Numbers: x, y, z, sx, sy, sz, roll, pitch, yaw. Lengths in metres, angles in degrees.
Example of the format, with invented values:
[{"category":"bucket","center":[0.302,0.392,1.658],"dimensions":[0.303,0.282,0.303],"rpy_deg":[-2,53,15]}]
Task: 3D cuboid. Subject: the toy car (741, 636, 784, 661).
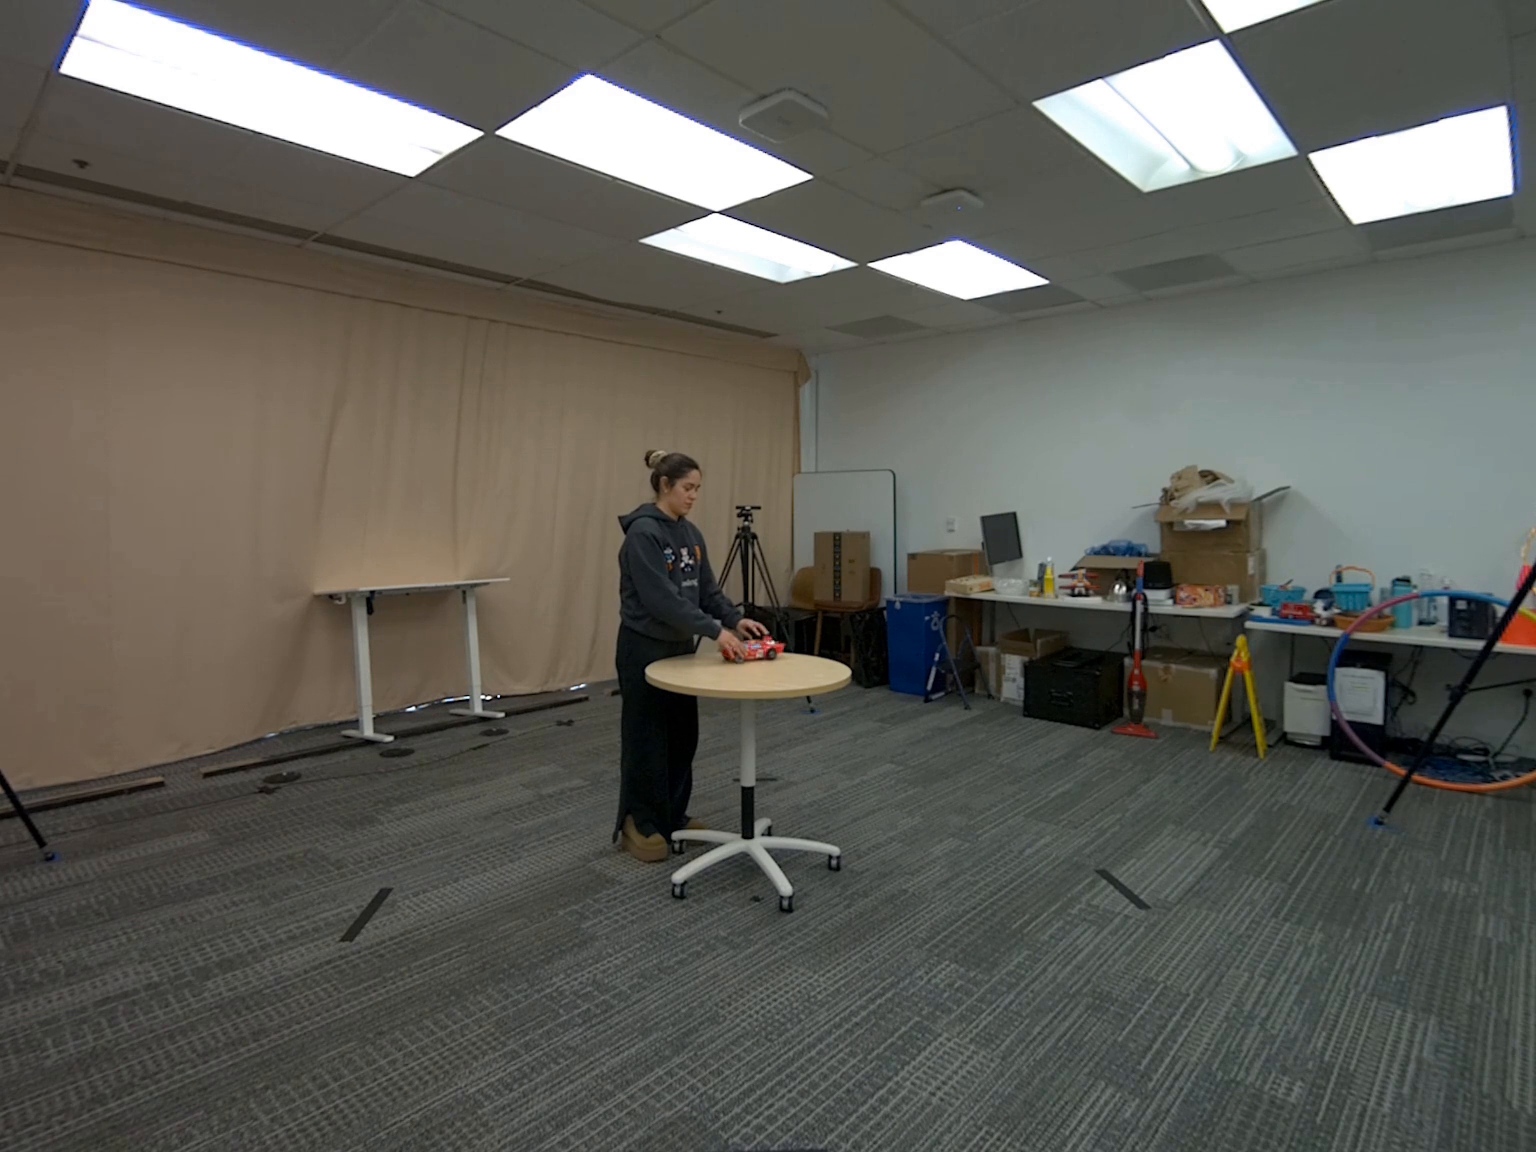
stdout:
[{"category":"toy car","center":[-0.041,0.298,3.340],"dimensions":[0.250,0.082,0.134],"rpy_deg":[-15,11,-24]}]
